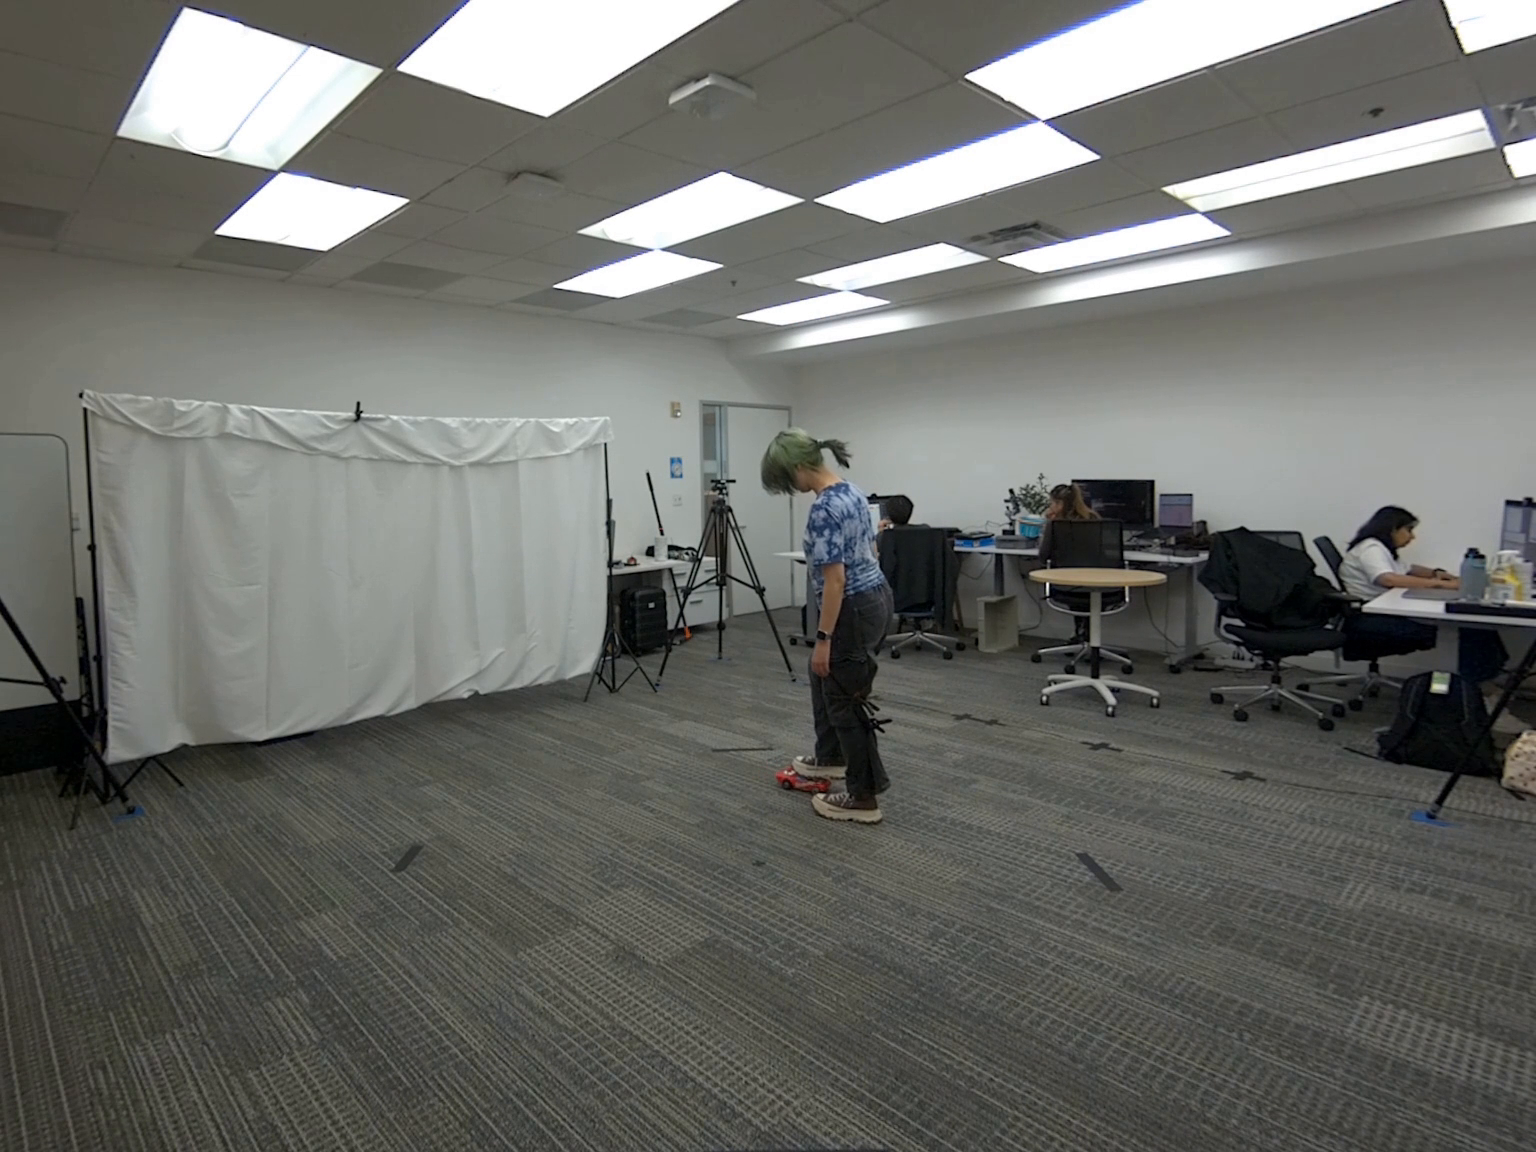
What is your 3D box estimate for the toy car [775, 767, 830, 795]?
[{"bbox_3d":[0.150,0.931,3.866,0.262,0.082,0.127,16,12,30],"label":"toy car"}]
